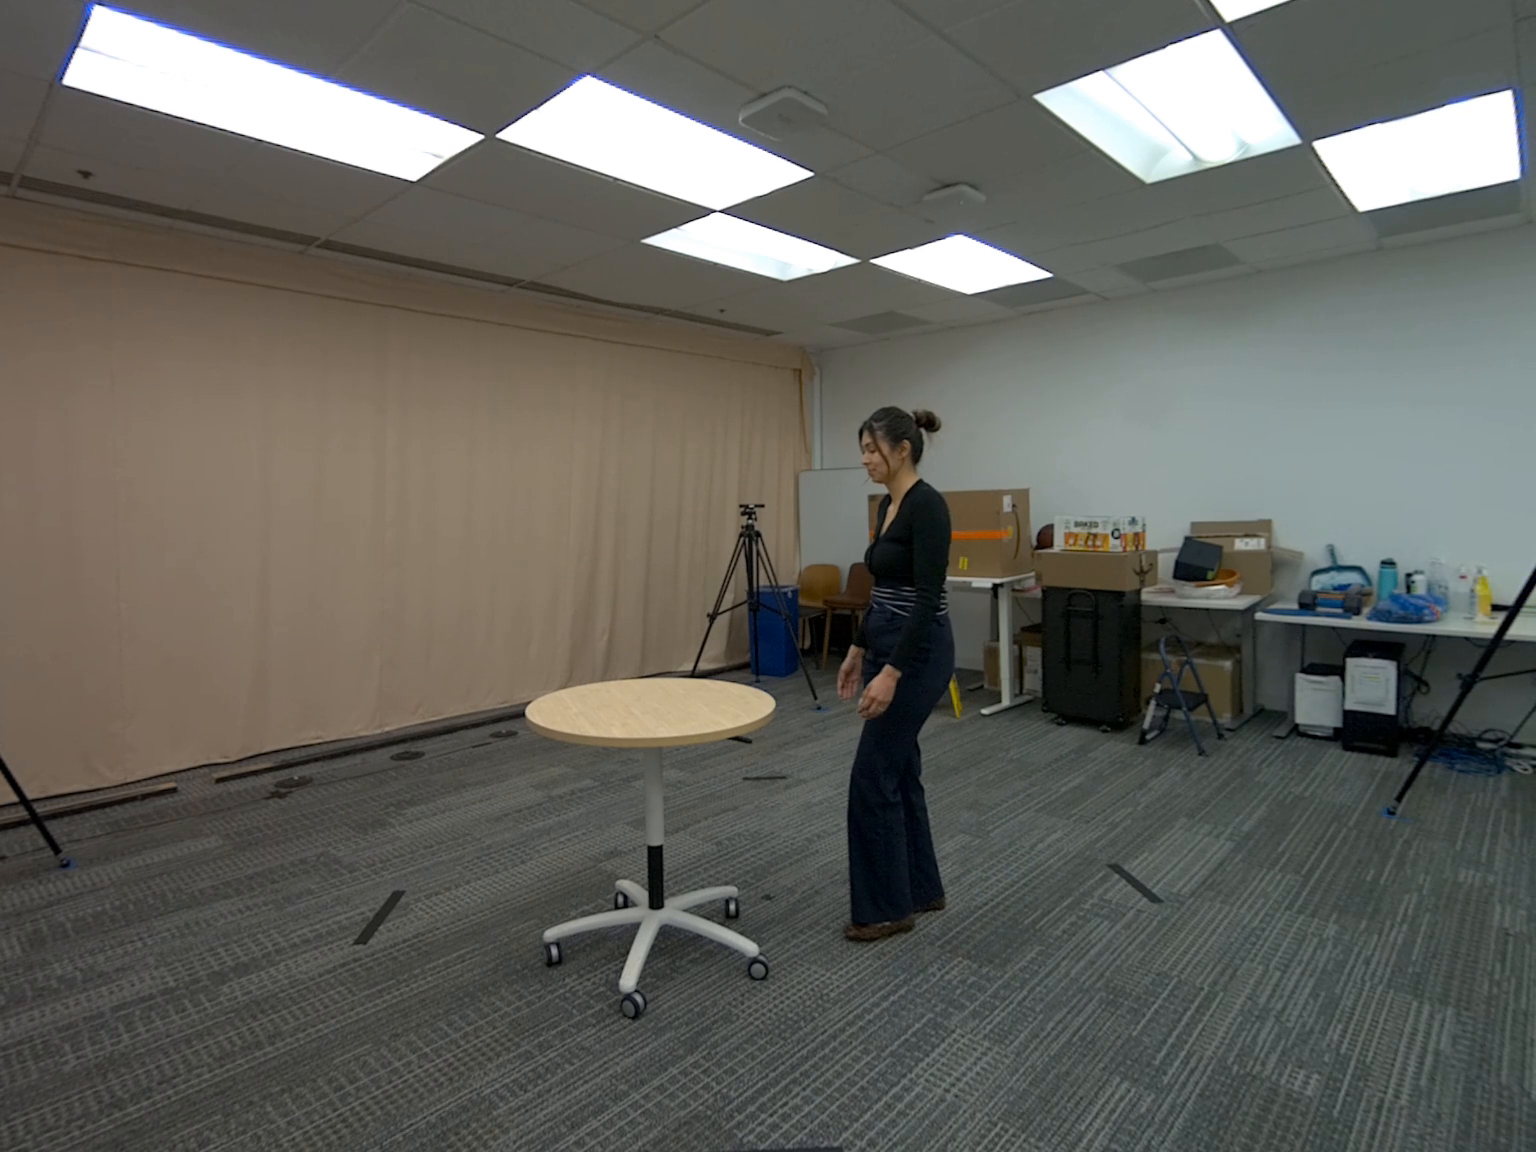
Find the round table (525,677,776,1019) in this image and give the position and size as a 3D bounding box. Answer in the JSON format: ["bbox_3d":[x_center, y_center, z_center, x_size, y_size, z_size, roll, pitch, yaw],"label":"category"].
[{"bbox_3d":[-0.343,0.795,2.621,0.763,0.792,0.767,-1,4,-2],"label":"round table"}]
